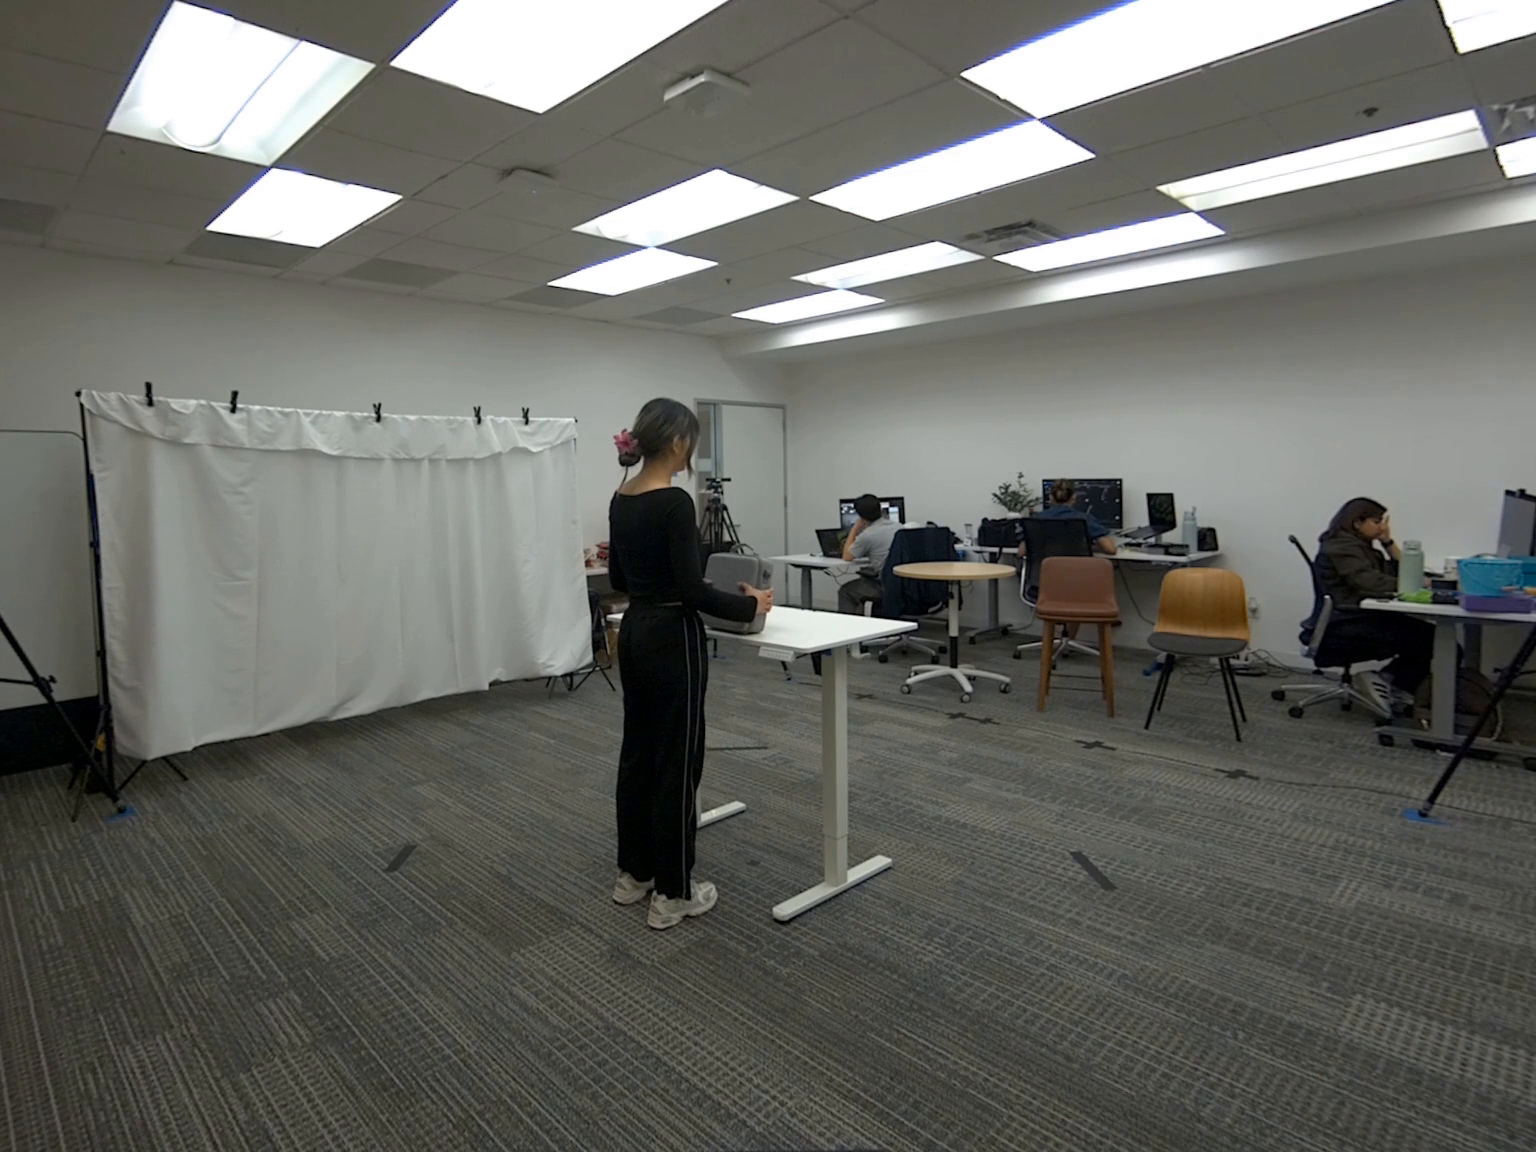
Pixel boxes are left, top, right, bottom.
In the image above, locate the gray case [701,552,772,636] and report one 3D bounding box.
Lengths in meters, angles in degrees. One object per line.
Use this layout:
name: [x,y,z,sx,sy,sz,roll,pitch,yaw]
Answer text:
gray case: [-0.112,0.053,2.882,0.101,0.261,0.265,12,-4,-38]
